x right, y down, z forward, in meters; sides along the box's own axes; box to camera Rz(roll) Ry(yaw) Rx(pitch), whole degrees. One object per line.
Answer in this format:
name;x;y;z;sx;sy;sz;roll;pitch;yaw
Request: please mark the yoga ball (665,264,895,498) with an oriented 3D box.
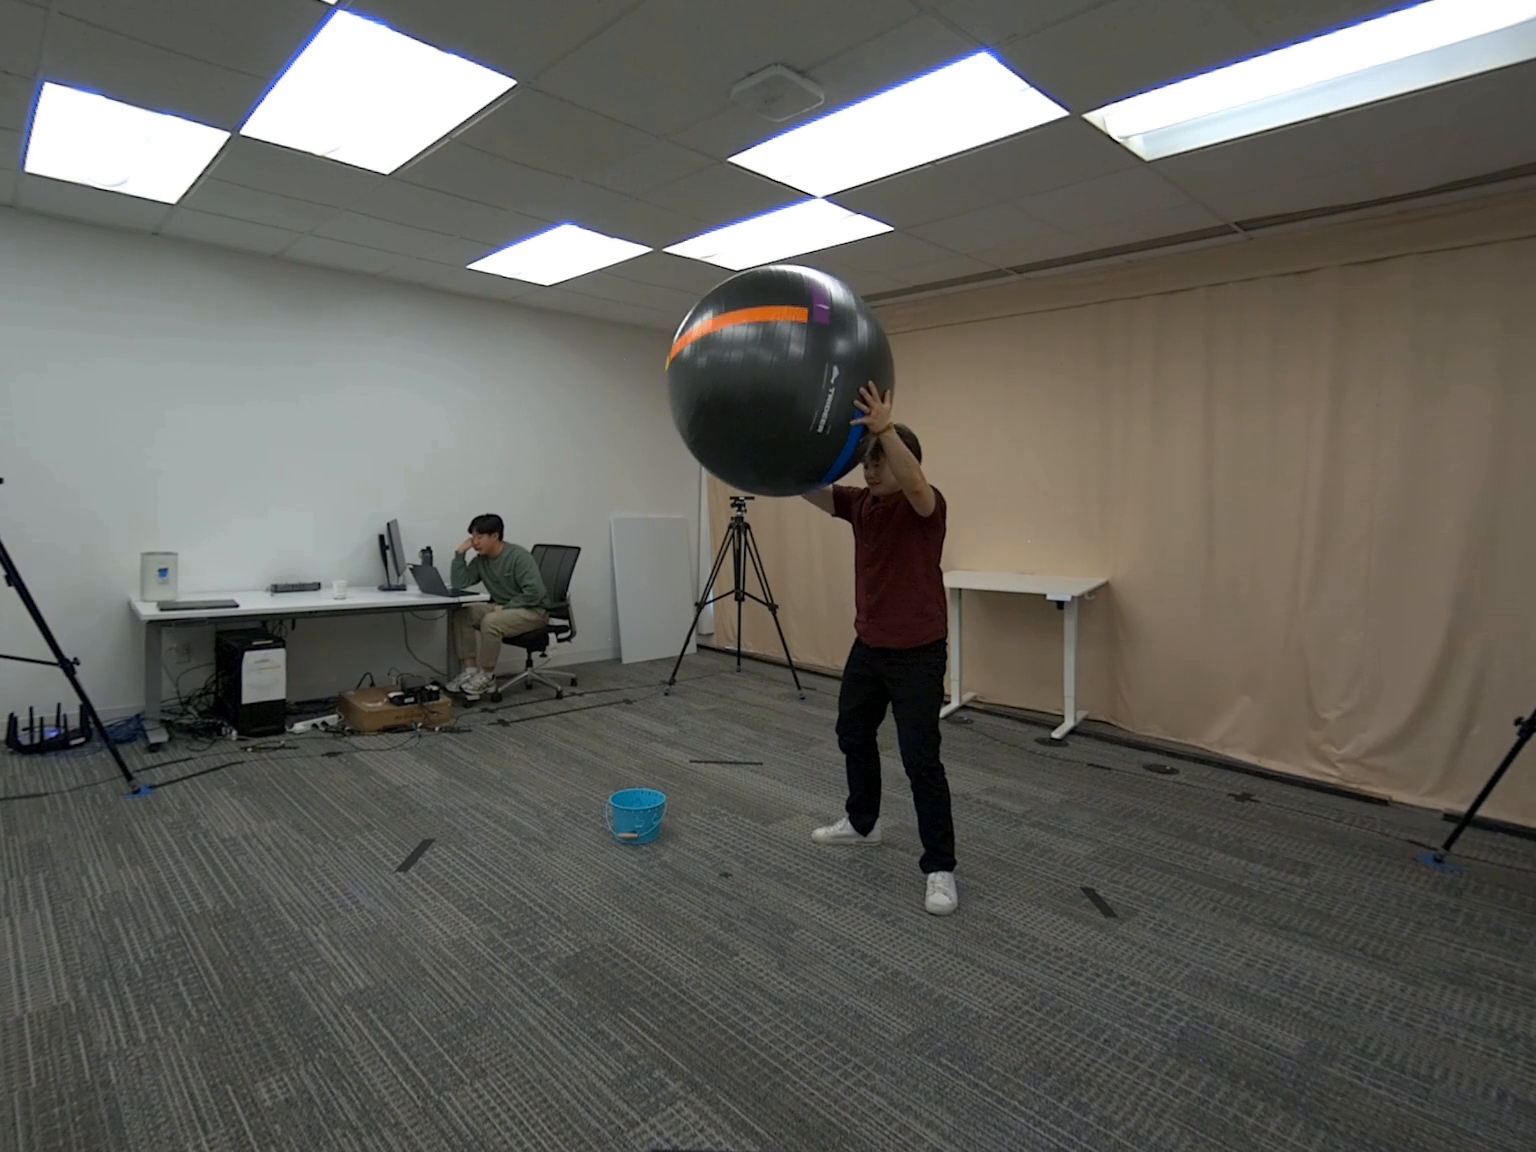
yoga ball;0.034;-0.634;2.828;0.757;0.756;0.761;1;4;-1
